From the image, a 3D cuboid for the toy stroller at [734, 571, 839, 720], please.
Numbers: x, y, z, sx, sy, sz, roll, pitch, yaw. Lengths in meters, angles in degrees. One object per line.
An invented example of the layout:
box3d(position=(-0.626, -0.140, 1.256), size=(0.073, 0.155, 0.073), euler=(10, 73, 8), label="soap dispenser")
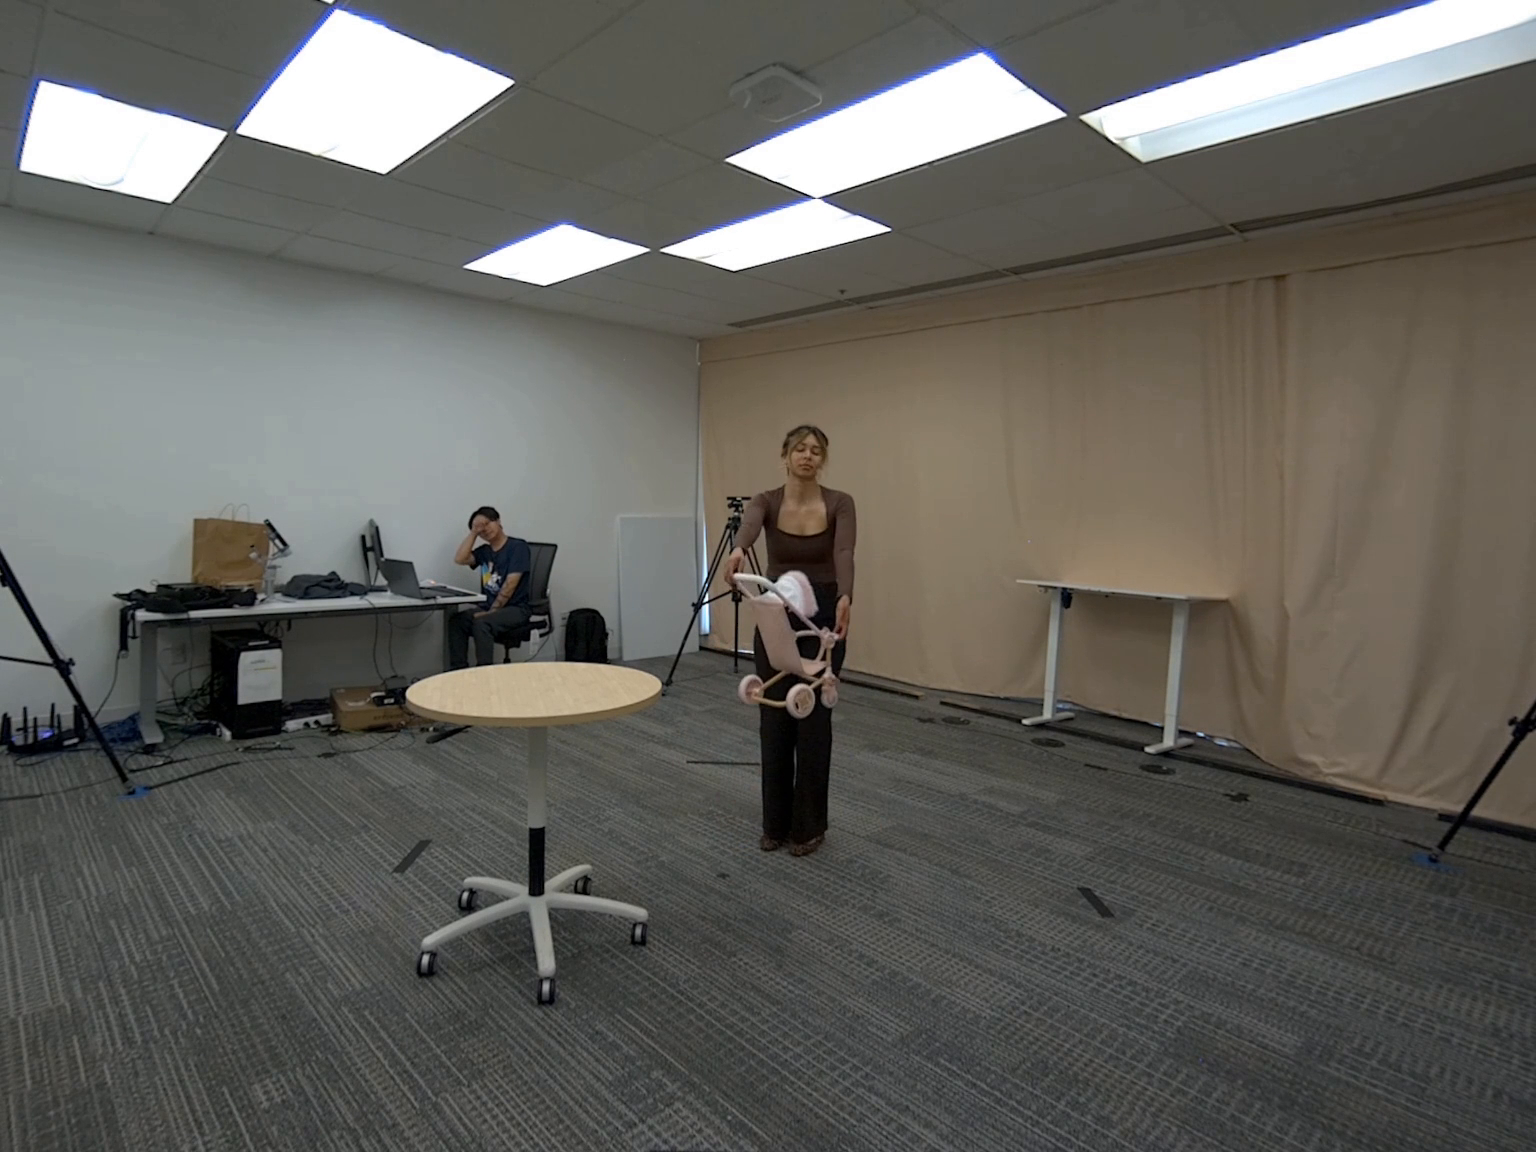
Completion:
box3d(position=(0.078, 0.227, 2.852), size=(0.335, 0.532, 0.287), euler=(-13, 7, -33), label="toy stroller")
